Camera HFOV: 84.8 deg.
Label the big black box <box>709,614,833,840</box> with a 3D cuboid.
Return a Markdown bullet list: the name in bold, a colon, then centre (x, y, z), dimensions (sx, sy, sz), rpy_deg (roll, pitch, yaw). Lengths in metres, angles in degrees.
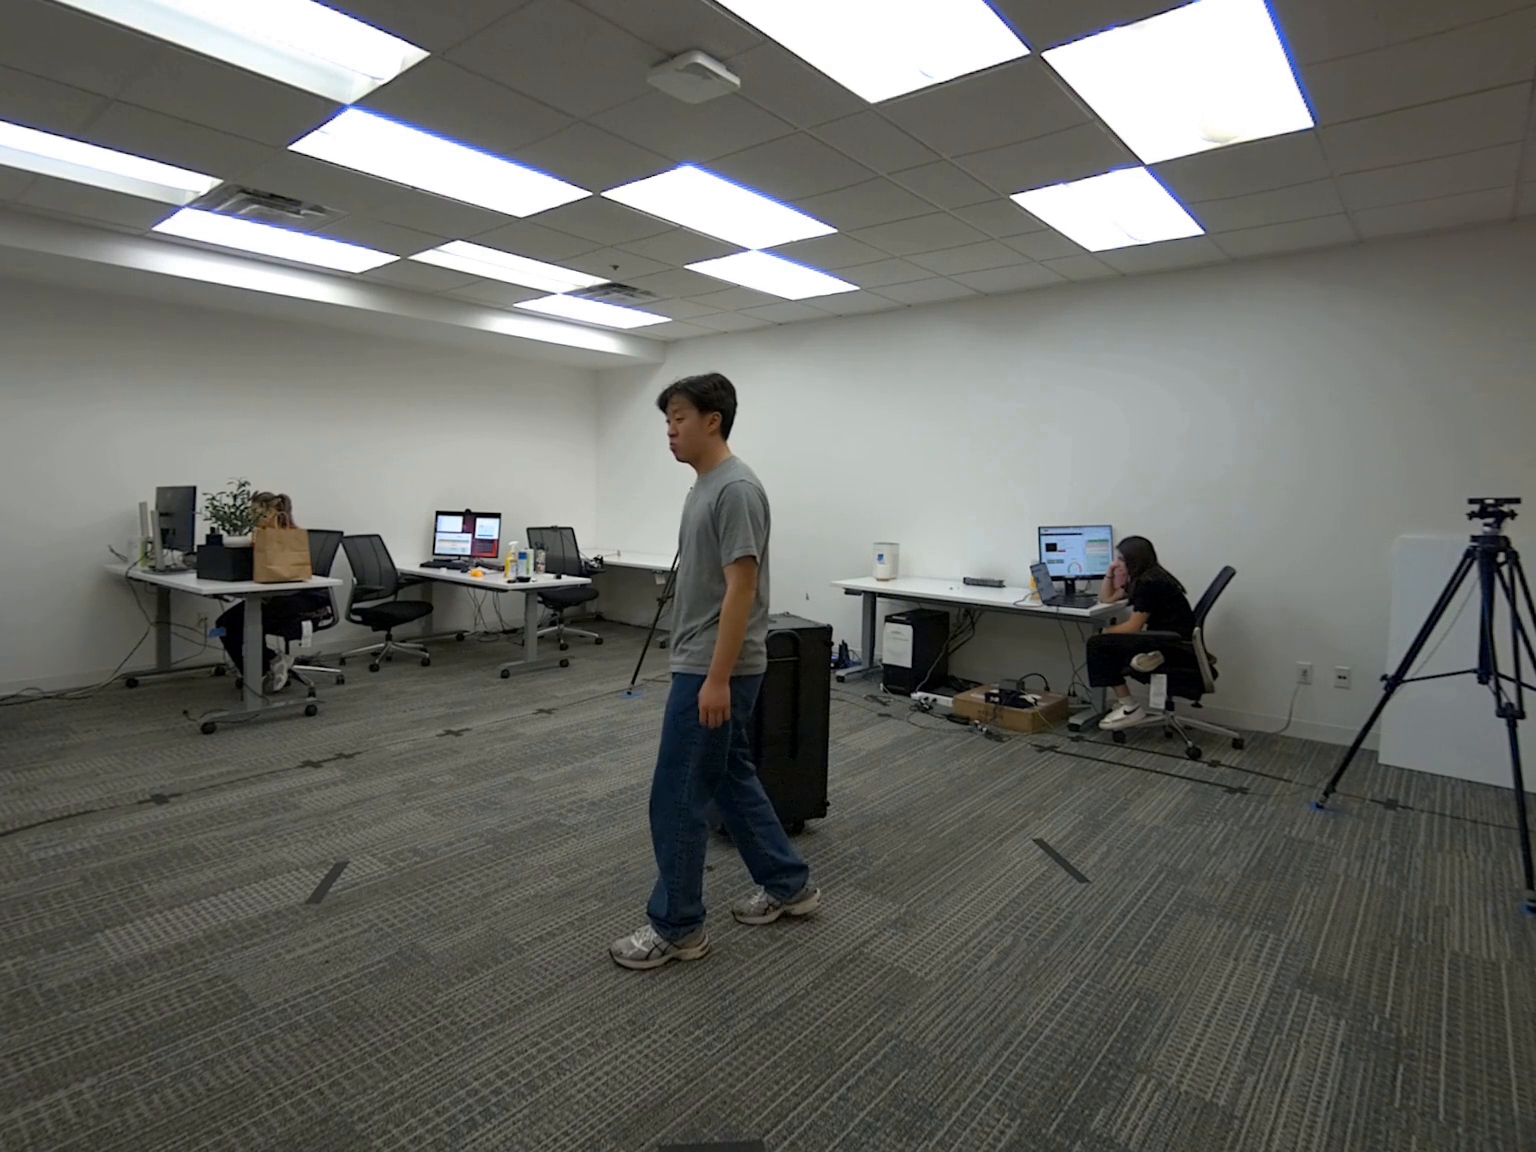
- **big black box**: centre (-0.044, 0.606, 3.471), dimensions (0.508, 0.858, 0.408), rpy_deg (-1, 5, -28)
